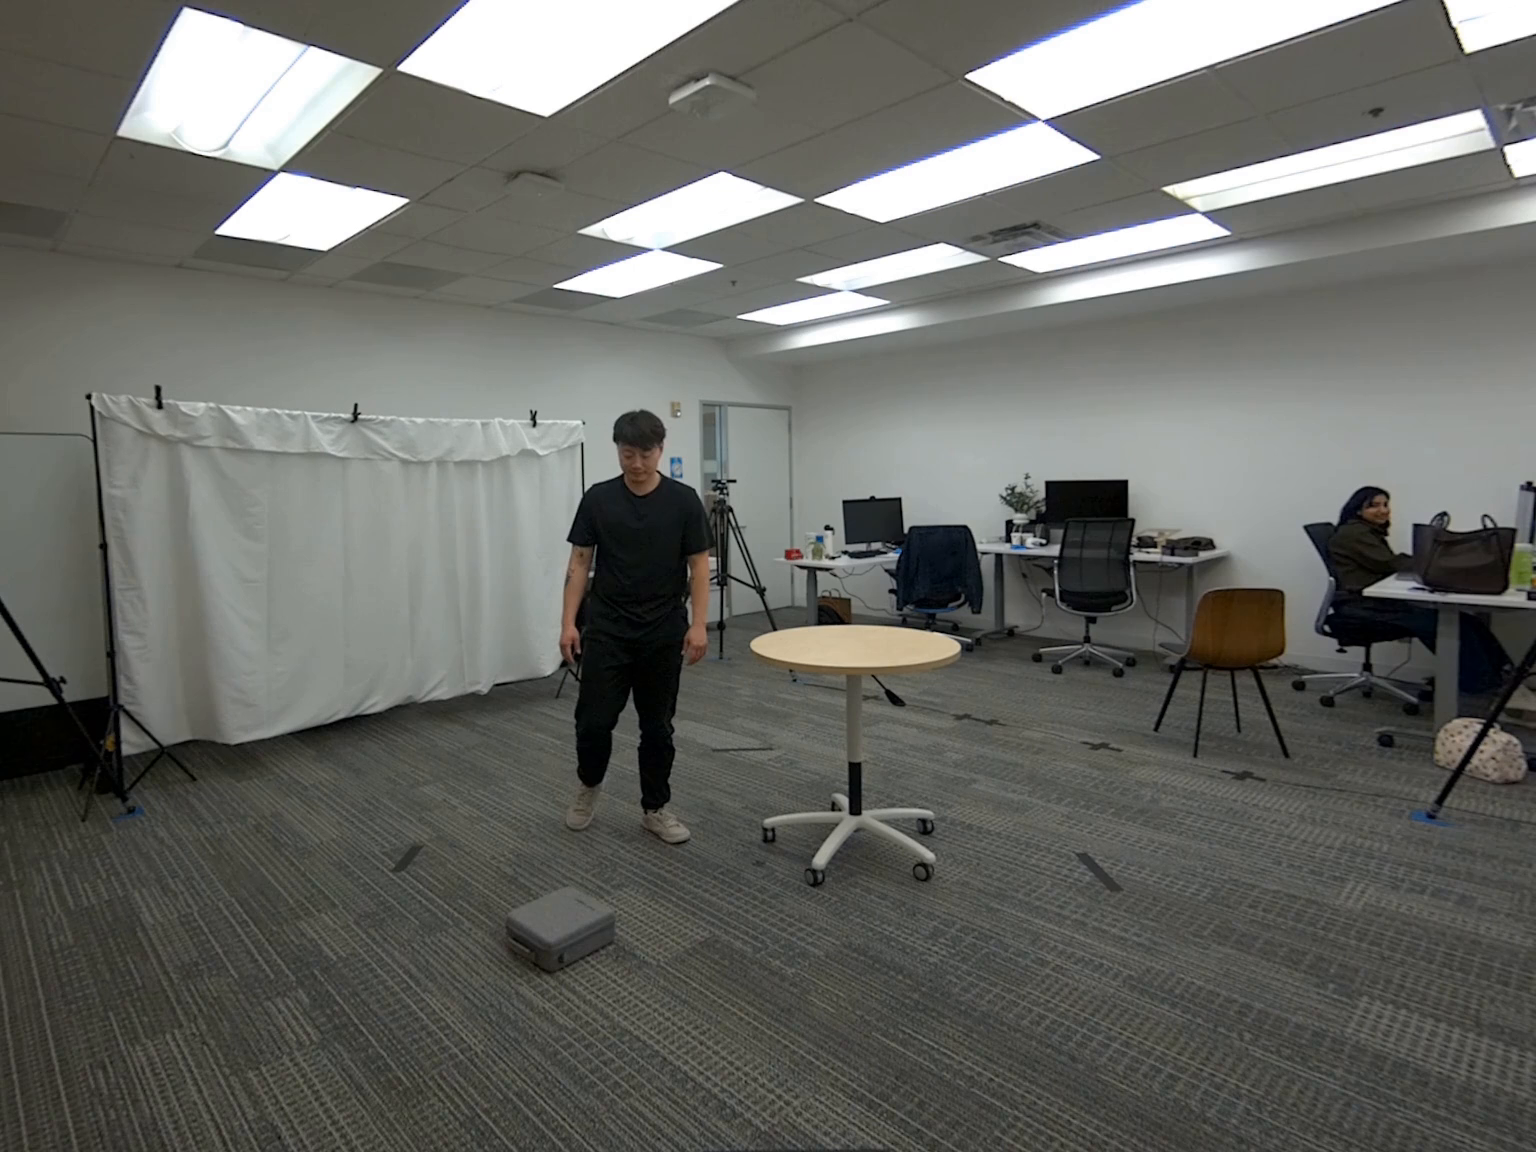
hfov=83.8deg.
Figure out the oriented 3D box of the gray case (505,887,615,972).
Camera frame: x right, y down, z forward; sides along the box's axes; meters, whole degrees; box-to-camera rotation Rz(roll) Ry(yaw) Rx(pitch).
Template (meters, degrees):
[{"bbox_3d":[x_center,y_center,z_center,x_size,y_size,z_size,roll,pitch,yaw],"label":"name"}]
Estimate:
[{"bbox_3d":[-0.627,1.068,2.589,0.265,0.103,0.254,7,11,43],"label":"gray case"}]
